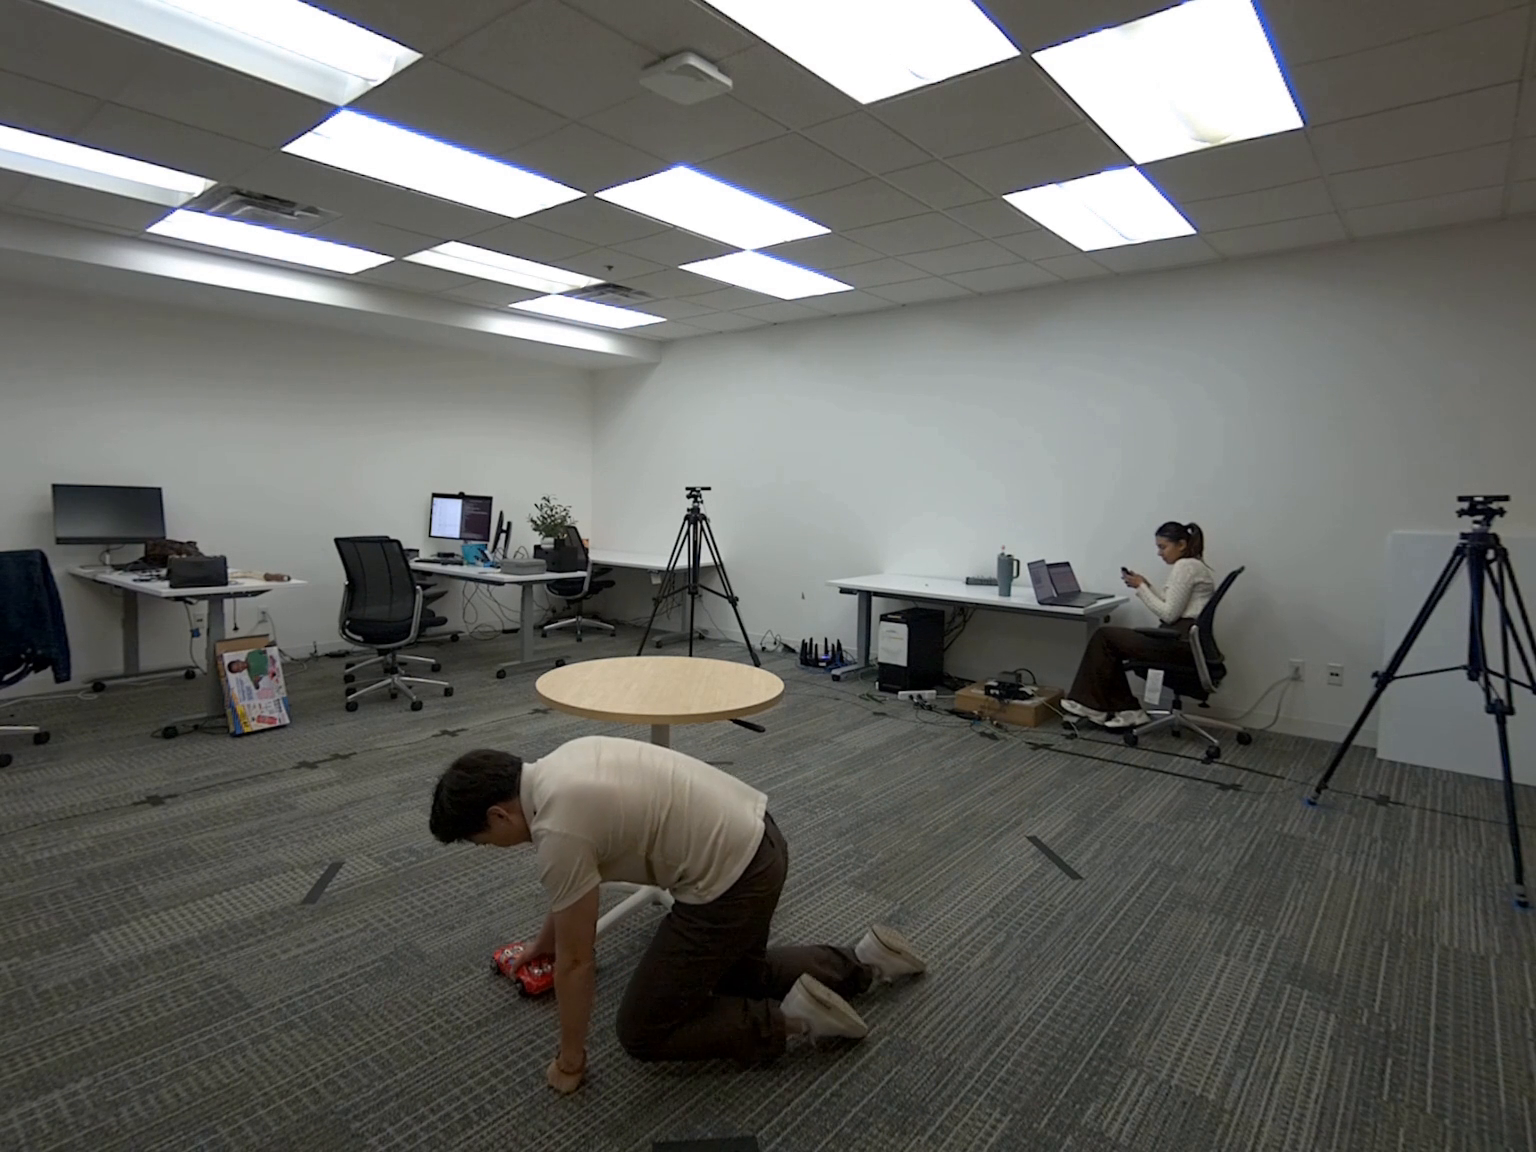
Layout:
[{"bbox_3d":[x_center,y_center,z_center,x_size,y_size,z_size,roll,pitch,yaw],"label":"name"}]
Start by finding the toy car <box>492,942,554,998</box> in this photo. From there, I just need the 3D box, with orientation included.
[{"bbox_3d":[-0.682,1.102,2.377,0.126,0.083,0.261,-4,-3,-45],"label":"toy car"}]
